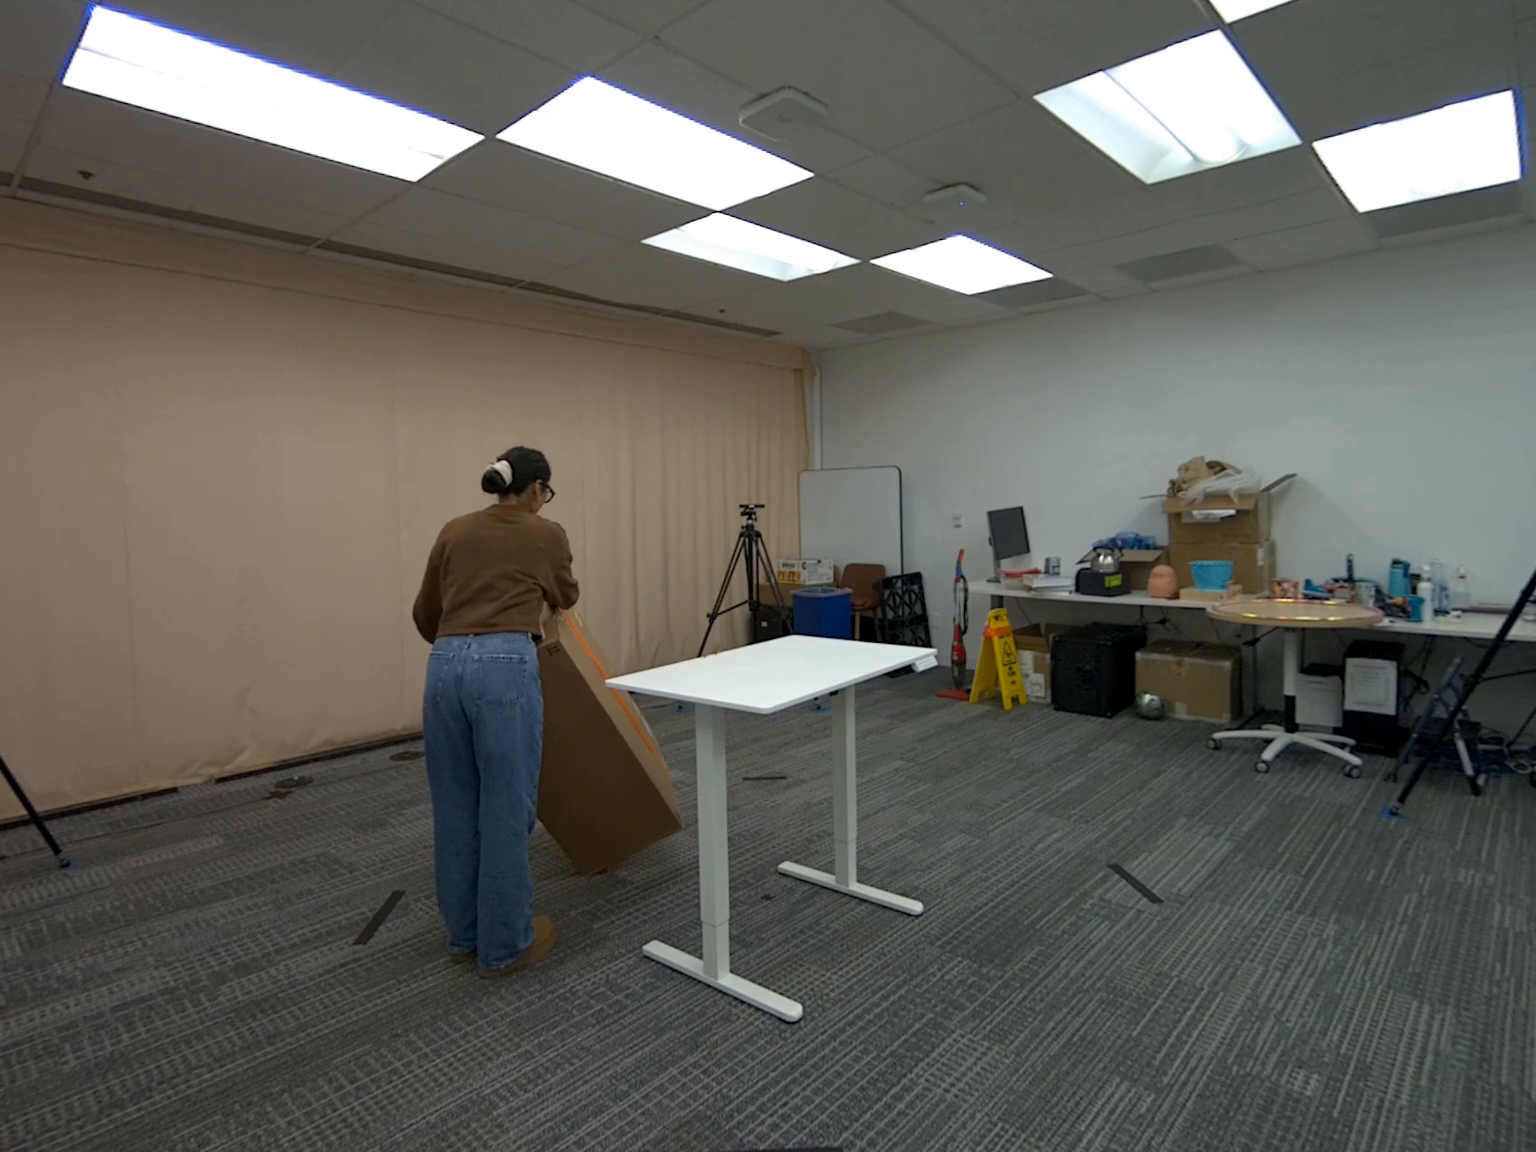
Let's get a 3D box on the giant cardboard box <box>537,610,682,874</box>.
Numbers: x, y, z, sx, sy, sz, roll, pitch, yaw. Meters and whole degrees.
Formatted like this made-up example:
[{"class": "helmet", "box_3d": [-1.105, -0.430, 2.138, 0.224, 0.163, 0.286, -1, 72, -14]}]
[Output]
[{"class": "giant cardboard box", "box_3d": [-0.766, 0.538, 3.181, 0.425, 0.998, 0.595, -27, 33, -4]}]
